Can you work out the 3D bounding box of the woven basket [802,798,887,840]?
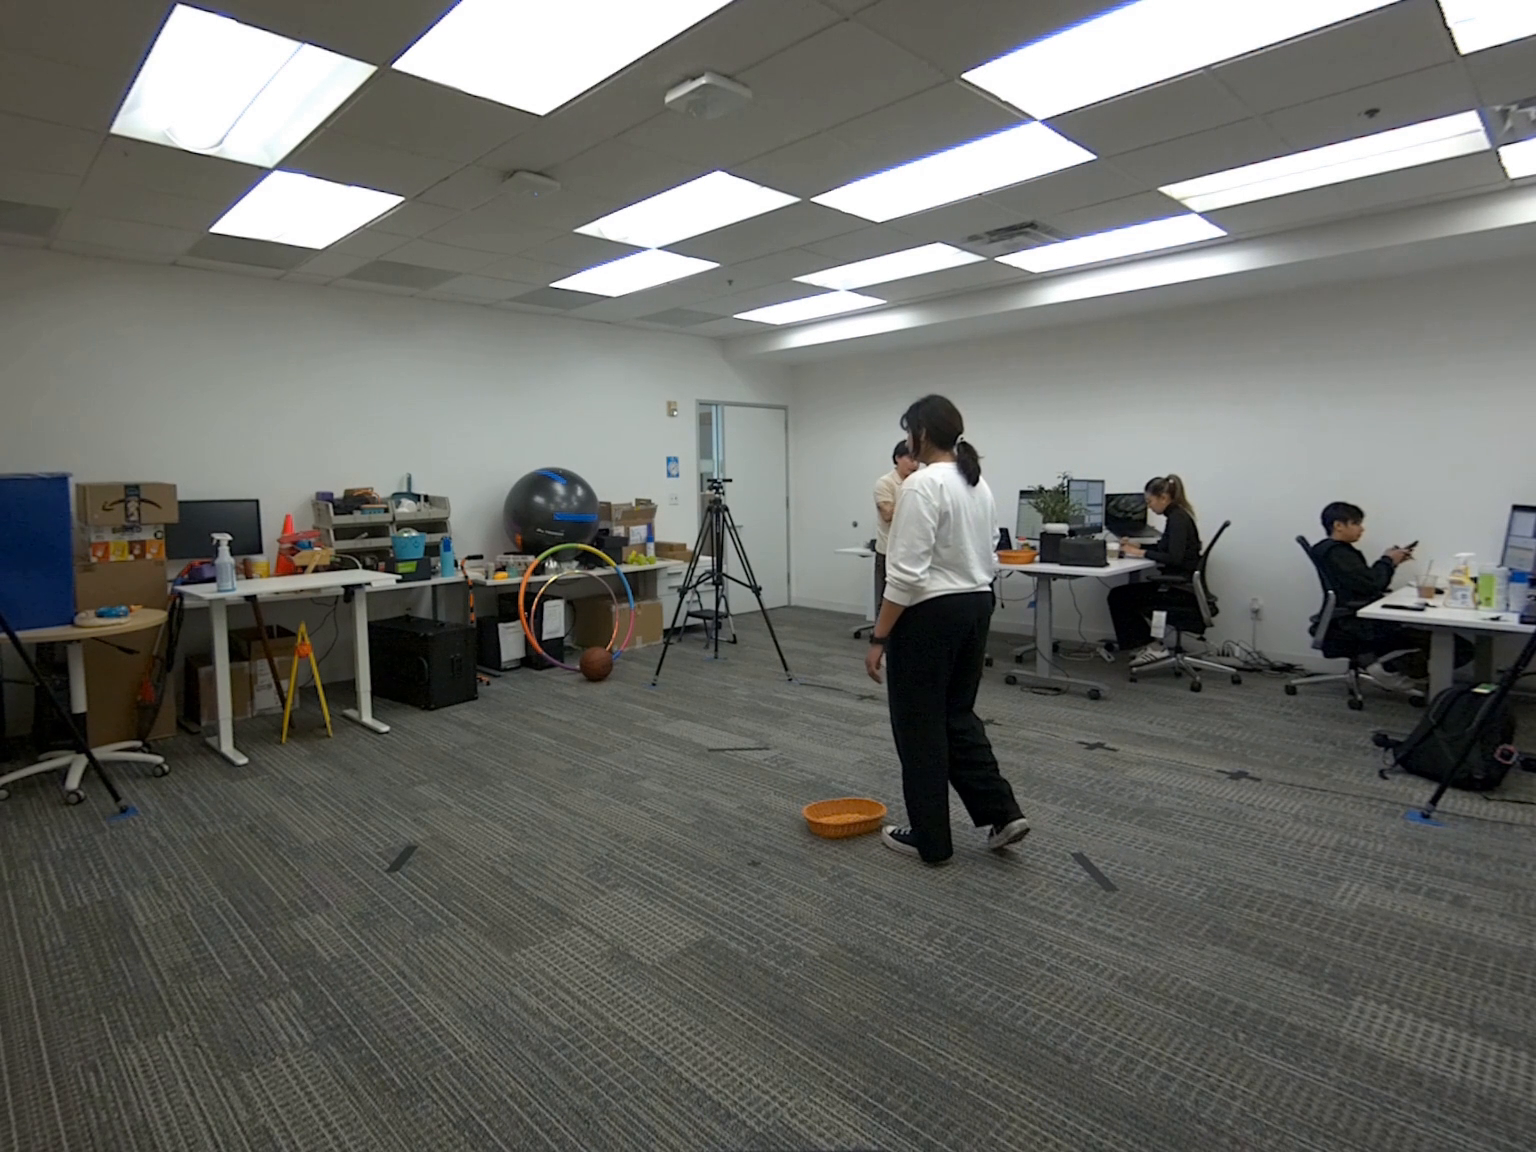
[{"bbox_3d":[0.307,0.963,3.417,0.346,0.073,0.257,-3,5,-15],"label":"woven basket"}]
